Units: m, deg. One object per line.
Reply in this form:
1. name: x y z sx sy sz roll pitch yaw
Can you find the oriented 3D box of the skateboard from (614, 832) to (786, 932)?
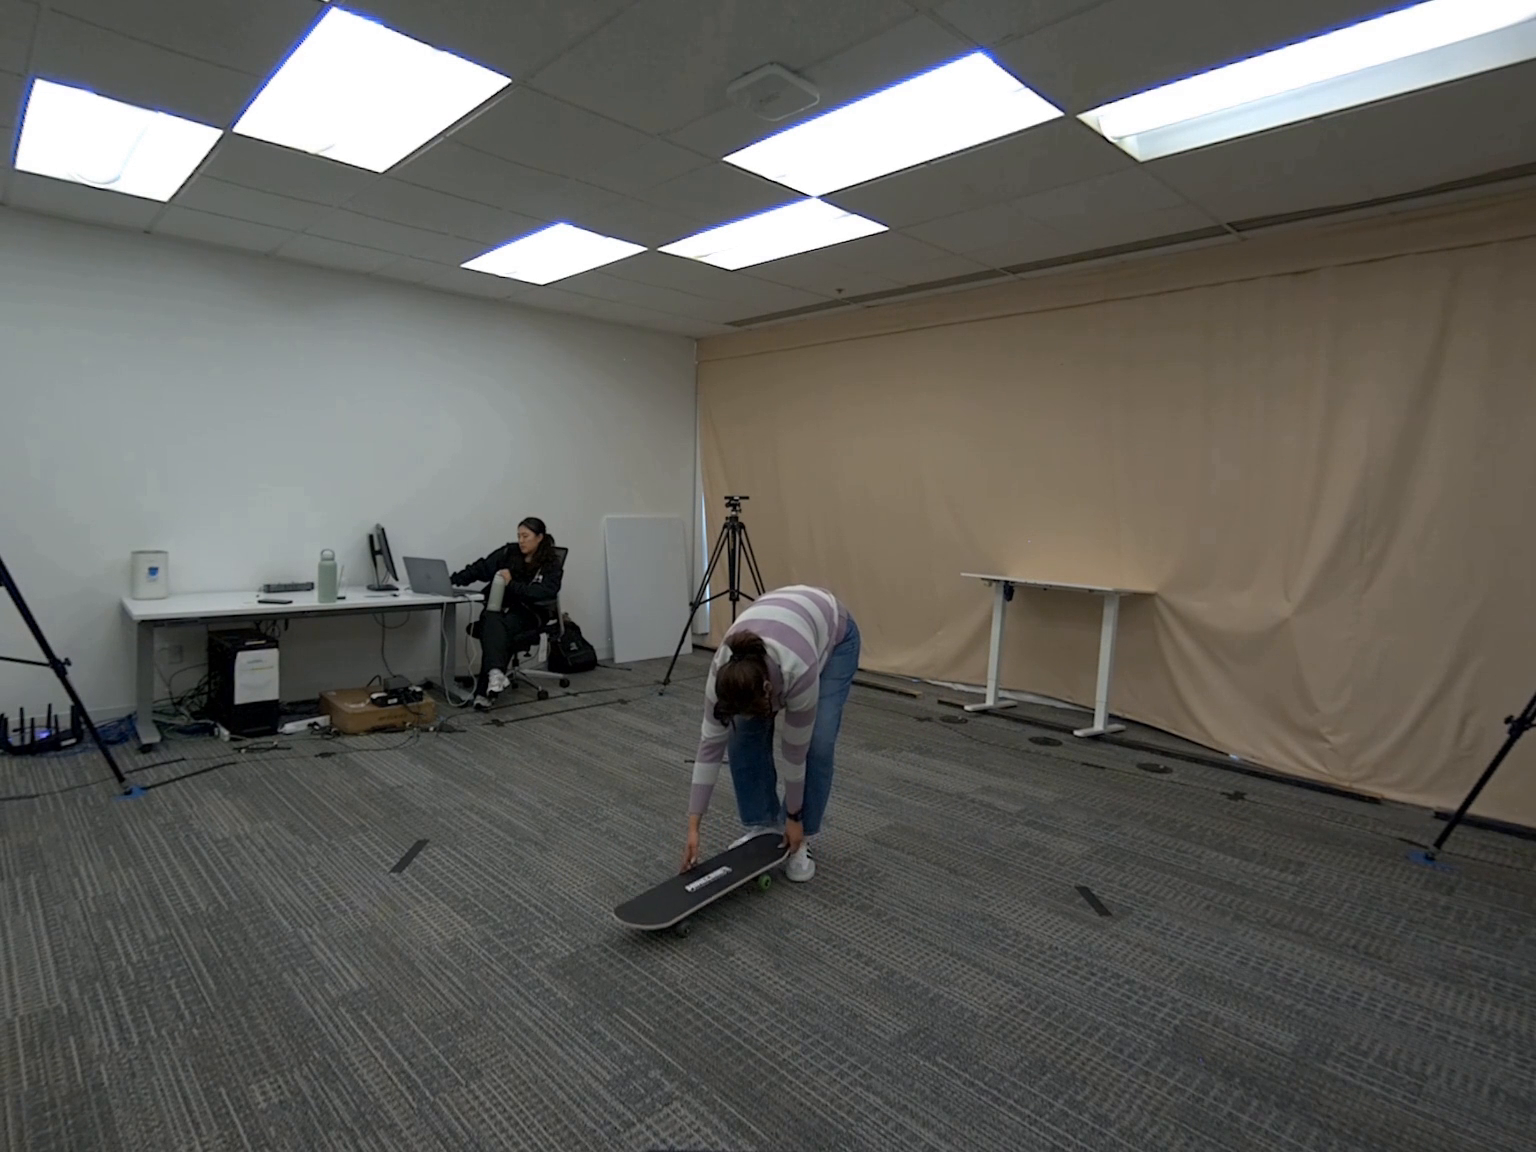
1. skateboard: -0.203 1.061 2.852 0.198 0.110 0.769 5 8 40
